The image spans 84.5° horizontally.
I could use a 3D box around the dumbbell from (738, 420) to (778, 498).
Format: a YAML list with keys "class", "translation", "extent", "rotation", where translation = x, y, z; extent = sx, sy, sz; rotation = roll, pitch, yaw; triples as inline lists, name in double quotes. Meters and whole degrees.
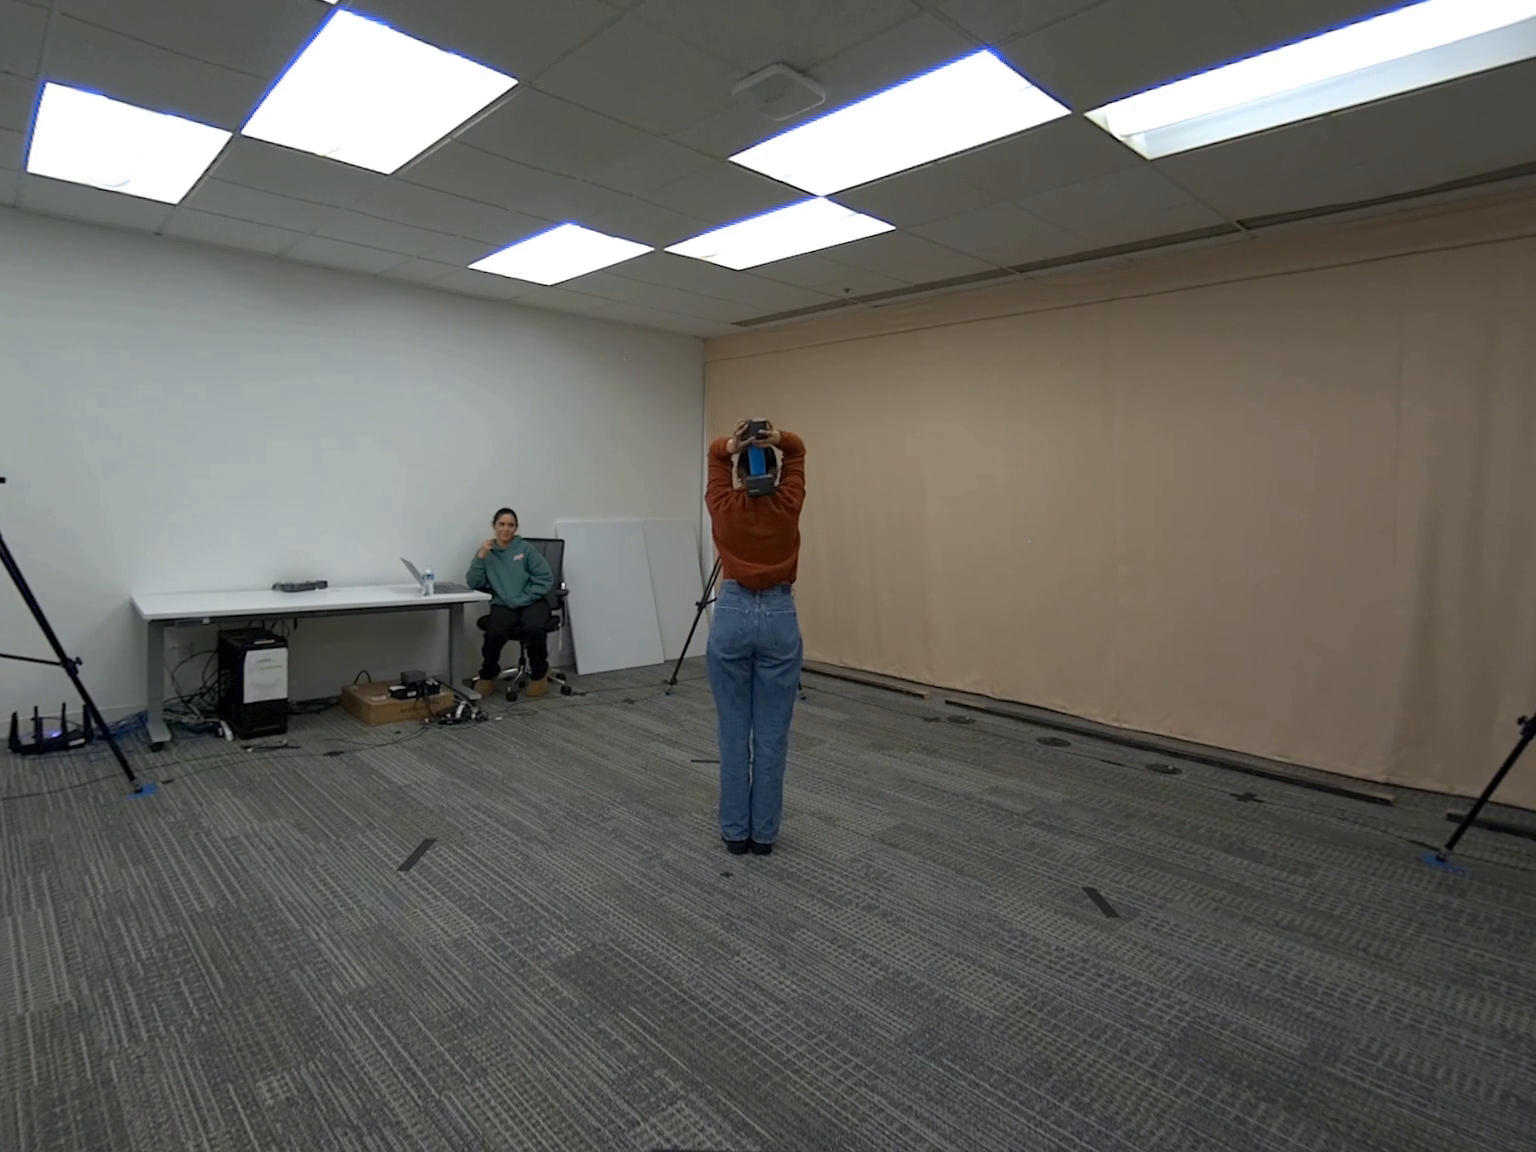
- class: "dumbbell"
  translation: [-0.055, -0.453, 3.213]
  extent: [0.108, 0.293, 0.123]
  rotation: [-6, 3, -5]
